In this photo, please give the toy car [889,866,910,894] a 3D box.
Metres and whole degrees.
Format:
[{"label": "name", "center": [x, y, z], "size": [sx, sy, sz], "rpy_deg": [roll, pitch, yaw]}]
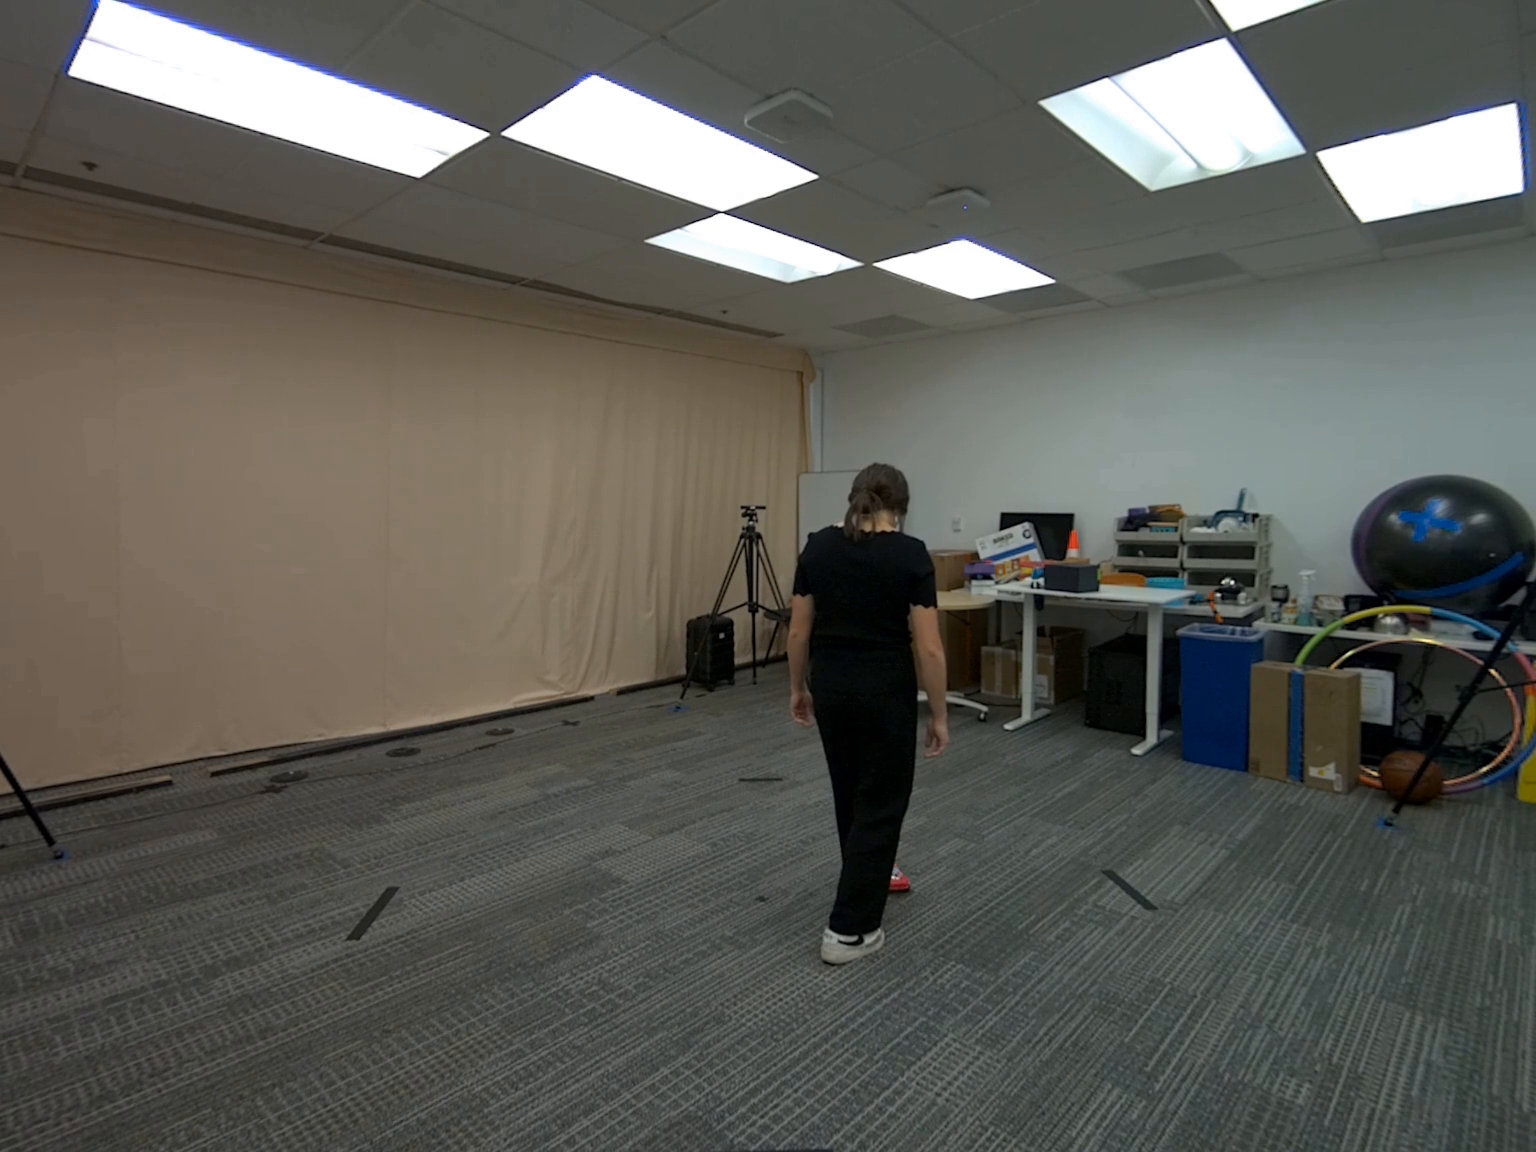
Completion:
[{"label": "toy car", "center": [0.429, 1.099, 3.113], "size": [0.129, 0.082, 0.259], "rpy_deg": [0, 15, -9]}]
